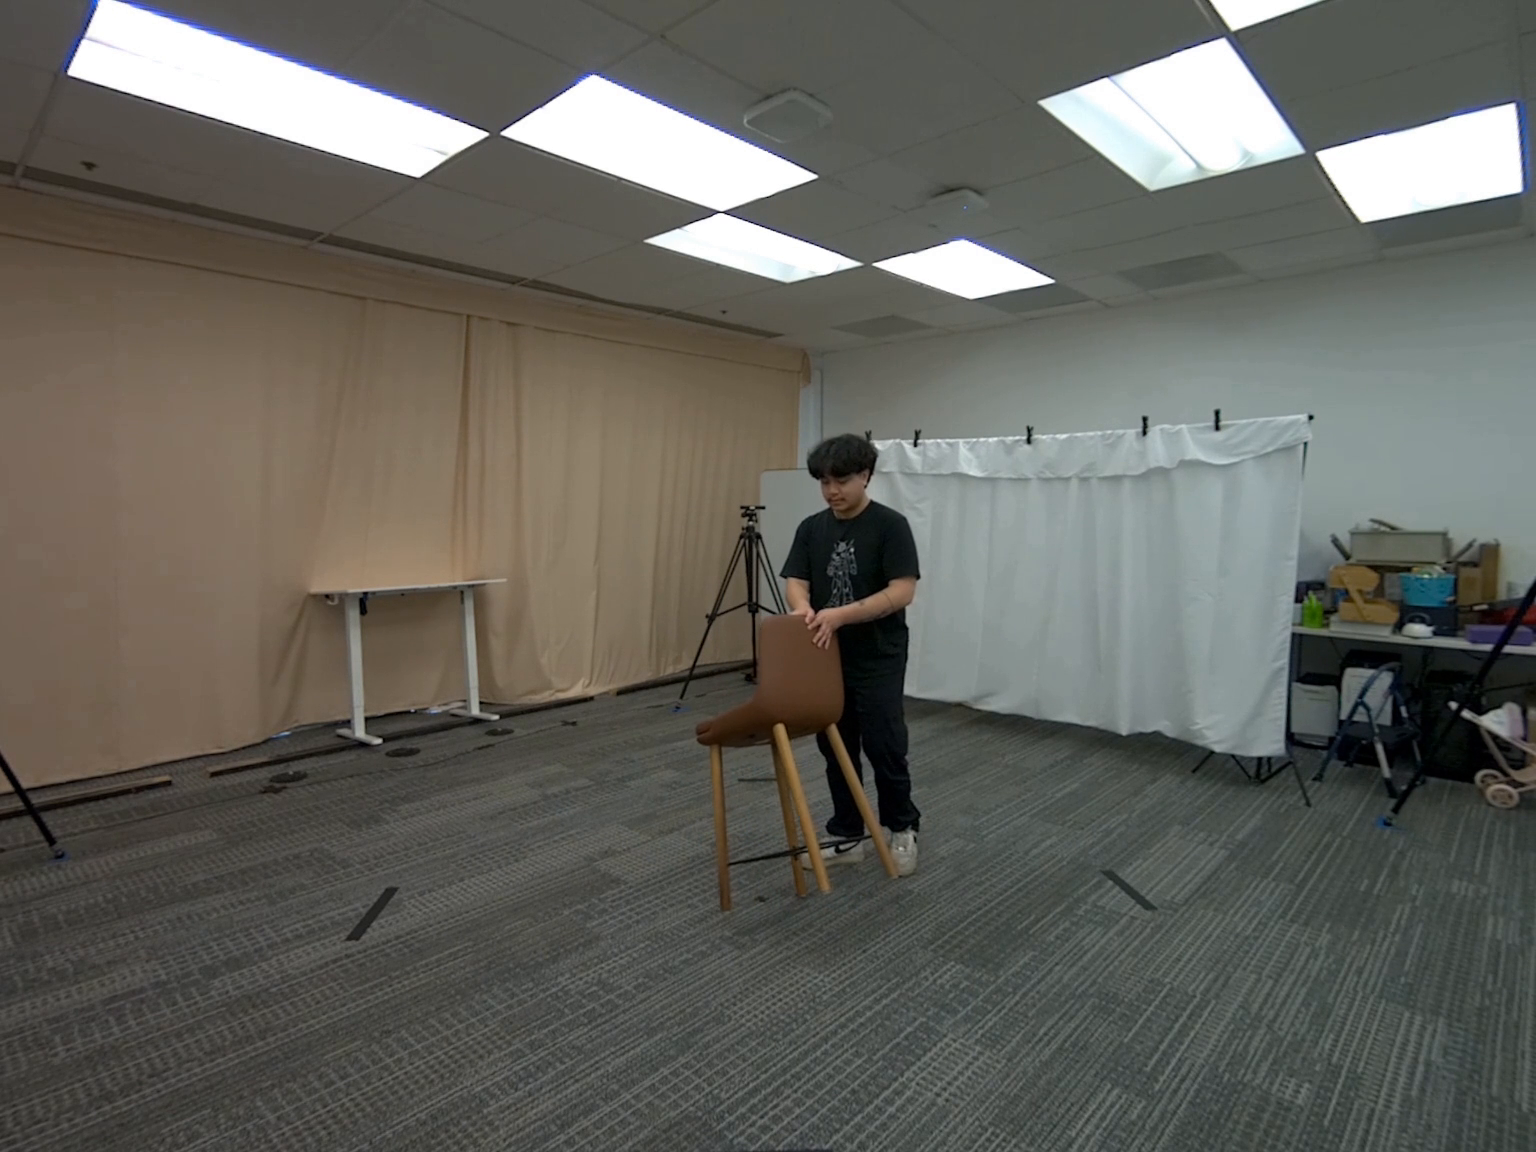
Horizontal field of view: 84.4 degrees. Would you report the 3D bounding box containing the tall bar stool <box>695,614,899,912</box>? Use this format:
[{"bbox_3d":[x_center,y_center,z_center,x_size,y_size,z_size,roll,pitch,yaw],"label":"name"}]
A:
[{"bbox_3d":[0.055,0.634,2.891,0.441,0.904,0.476,10,-29,-44],"label":"tall bar stool"}]
